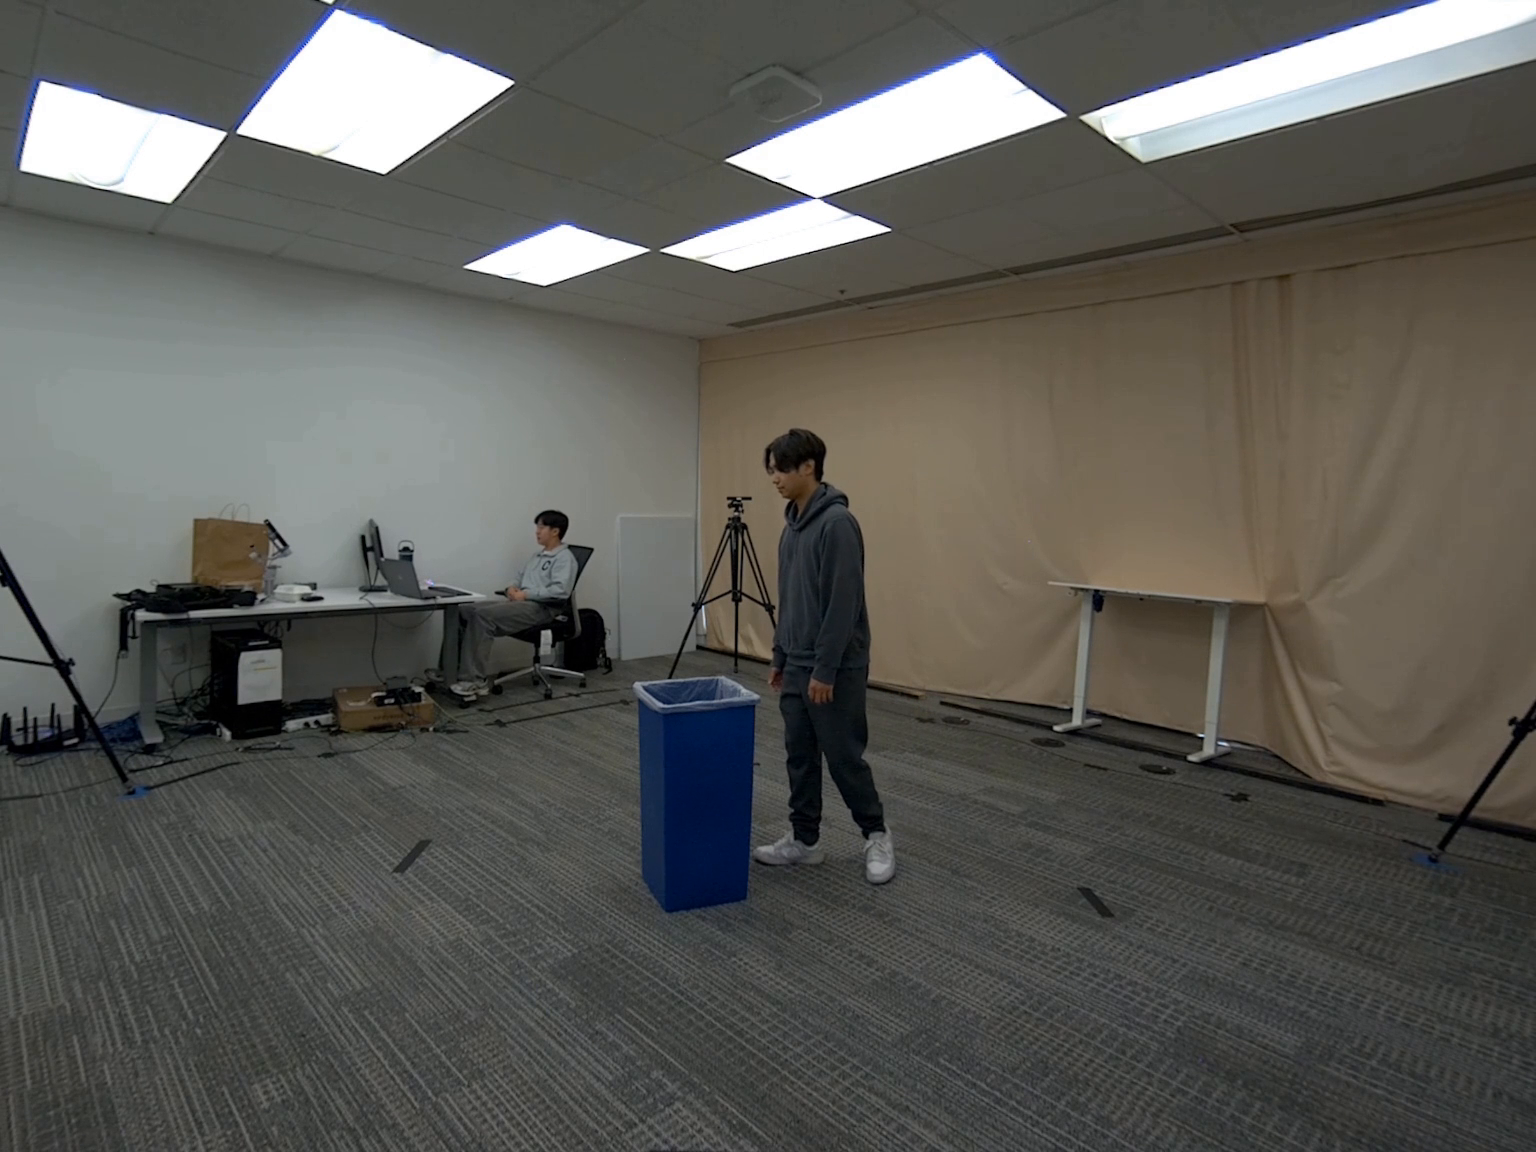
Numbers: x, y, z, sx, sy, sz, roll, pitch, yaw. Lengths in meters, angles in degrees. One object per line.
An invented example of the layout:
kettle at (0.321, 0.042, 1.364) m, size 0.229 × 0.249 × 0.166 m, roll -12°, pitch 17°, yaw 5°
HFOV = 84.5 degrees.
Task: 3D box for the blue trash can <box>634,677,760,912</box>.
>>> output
blue trash can at (-0.269, 0.756, 2.977) m, size 0.368 × 0.712 × 0.385 m, roll 0°, pitch 3°, yaw -23°
